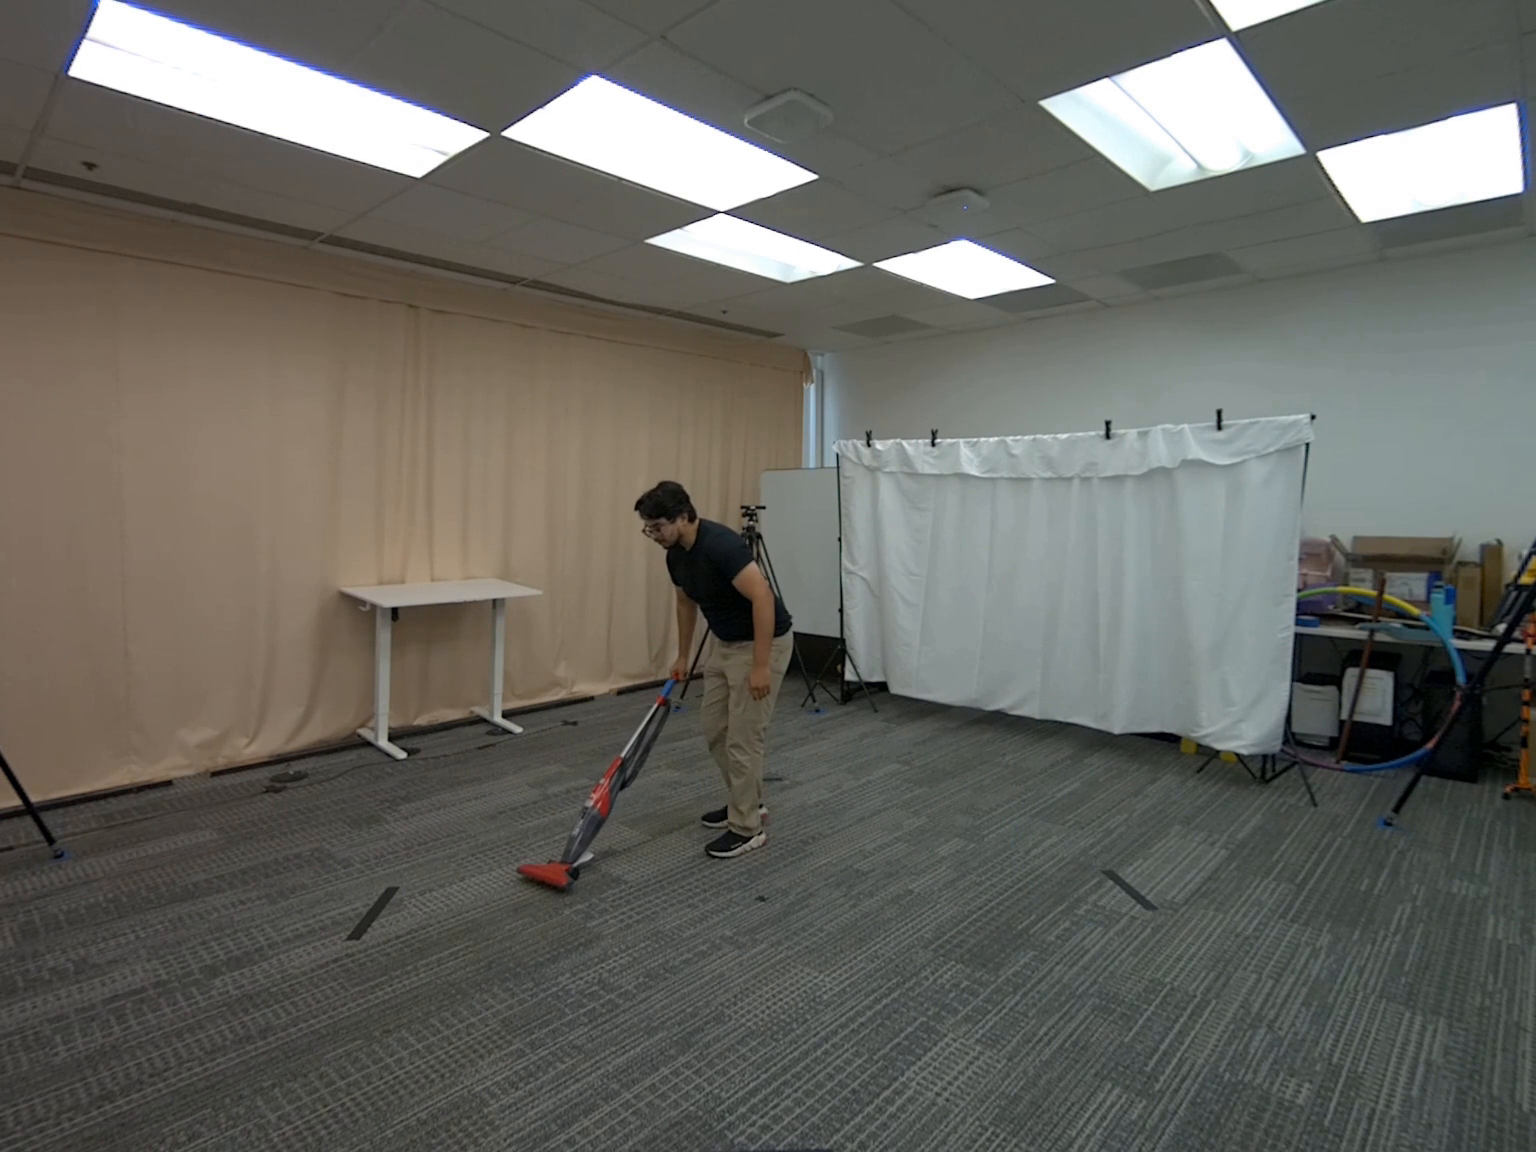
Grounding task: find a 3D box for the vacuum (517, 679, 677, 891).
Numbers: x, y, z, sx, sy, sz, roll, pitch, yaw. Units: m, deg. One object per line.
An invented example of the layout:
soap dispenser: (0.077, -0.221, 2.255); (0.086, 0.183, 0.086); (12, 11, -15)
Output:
vacuum: (-0.581, 0.783, 3.454); (0.260, 0.140, 1.046); (2, 41, 33)
